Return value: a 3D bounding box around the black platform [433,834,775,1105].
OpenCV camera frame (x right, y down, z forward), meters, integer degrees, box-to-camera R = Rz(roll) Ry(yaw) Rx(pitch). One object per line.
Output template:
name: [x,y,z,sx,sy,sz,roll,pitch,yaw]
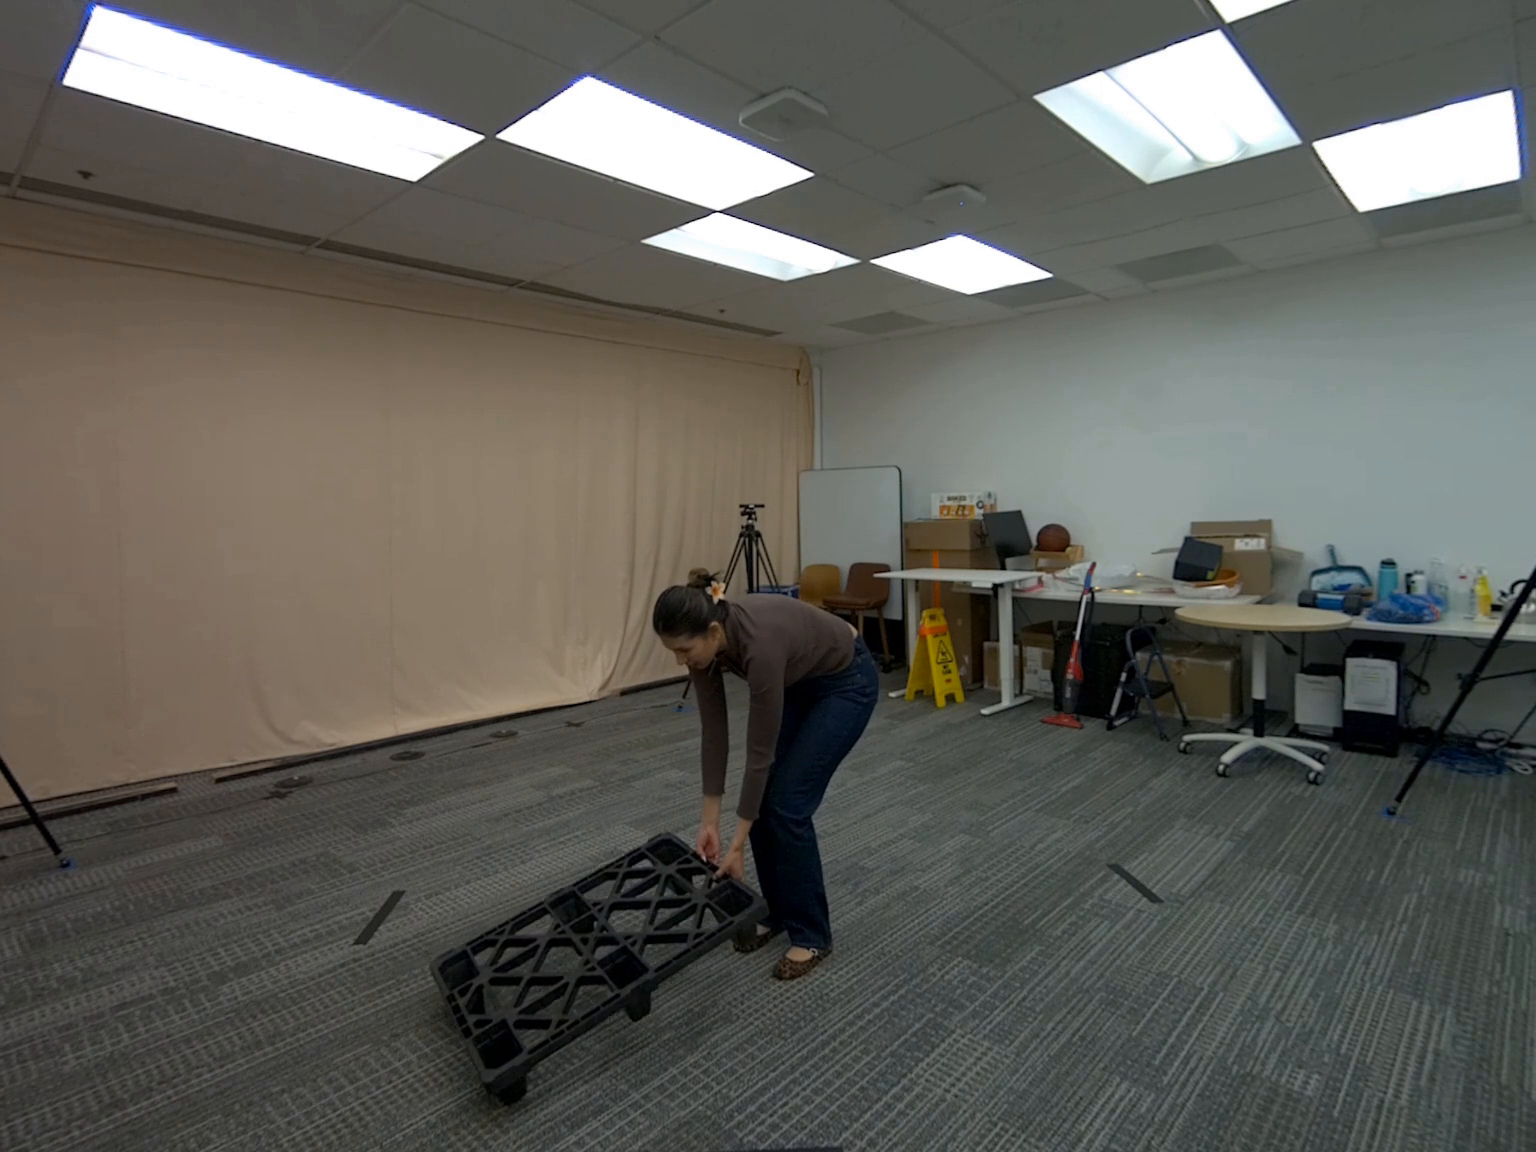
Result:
black platform: [-0.459,1.048,2.312,0.790,0.142,0.623,-23,16,-28]
